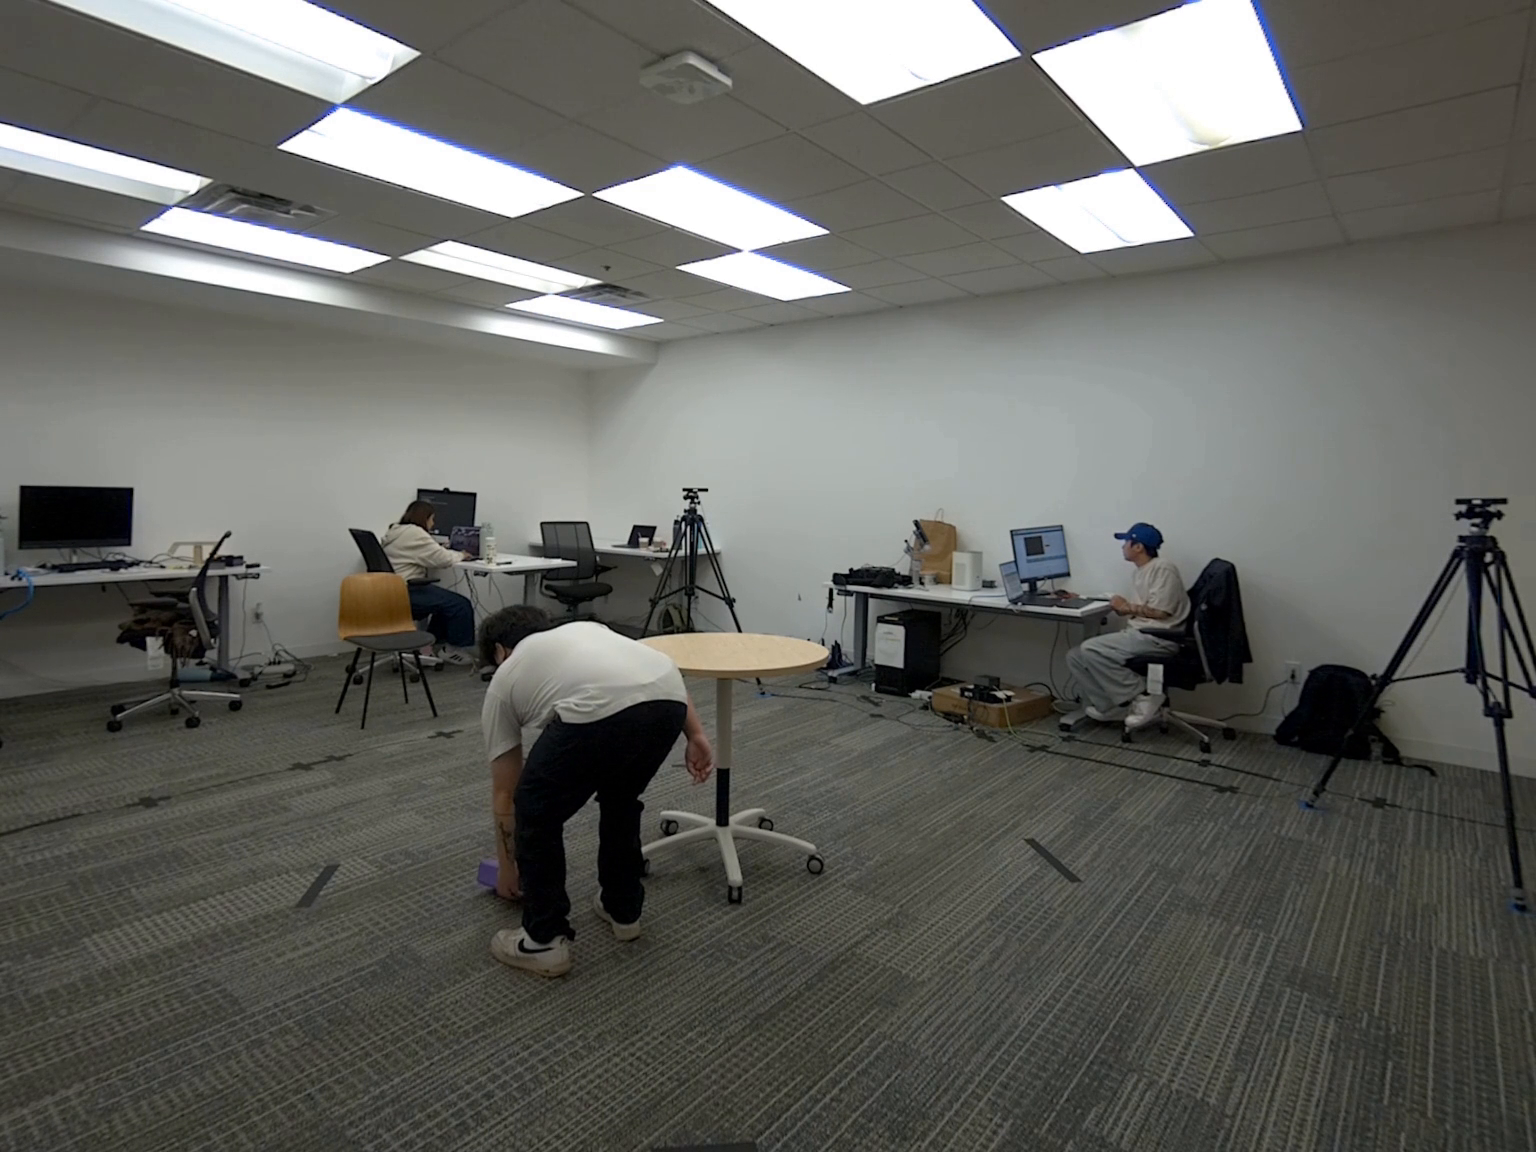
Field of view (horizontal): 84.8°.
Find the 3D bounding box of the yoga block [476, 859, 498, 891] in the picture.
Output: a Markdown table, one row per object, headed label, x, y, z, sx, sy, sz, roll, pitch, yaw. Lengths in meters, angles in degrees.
| label | x | y | z | sx | sy | sz | roll | pitch | yaw |
| --- | --- | --- | --- | --- | --- | --- | --- | --- | --- |
| yoga block | -0.874 | 1.009 | 2.876 | 0.236 | 0.077 | 0.143 | -6 | -15 | 42 |
